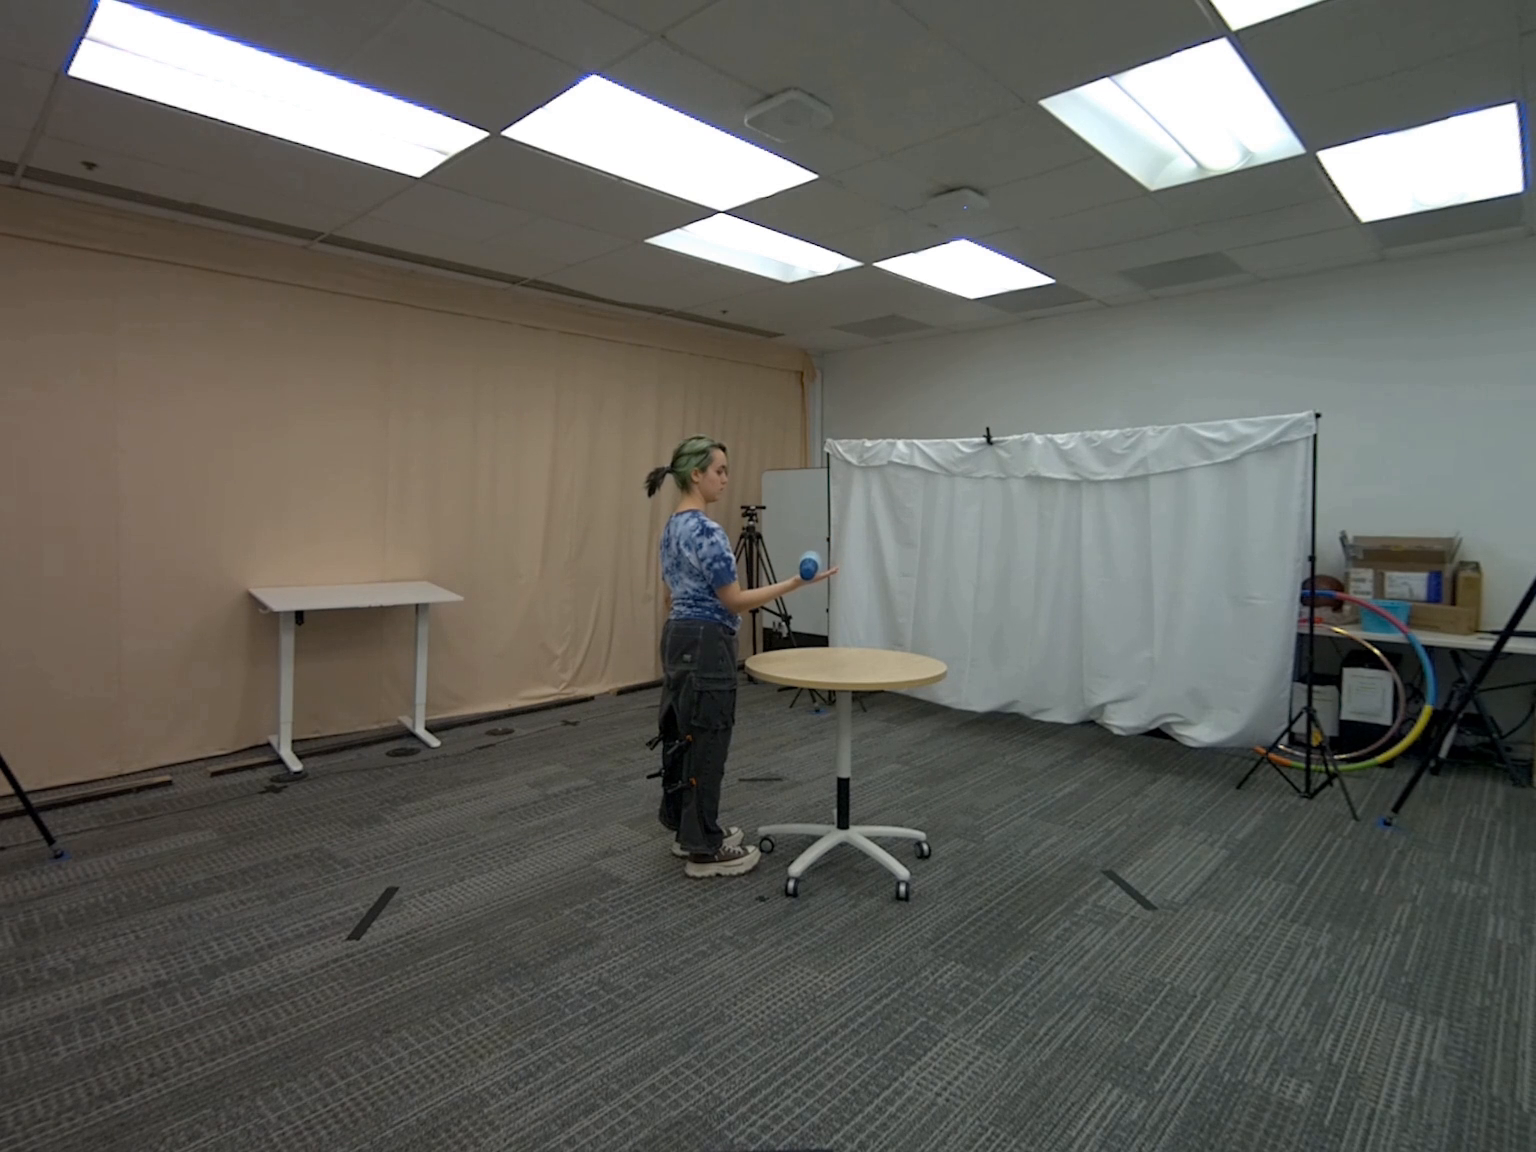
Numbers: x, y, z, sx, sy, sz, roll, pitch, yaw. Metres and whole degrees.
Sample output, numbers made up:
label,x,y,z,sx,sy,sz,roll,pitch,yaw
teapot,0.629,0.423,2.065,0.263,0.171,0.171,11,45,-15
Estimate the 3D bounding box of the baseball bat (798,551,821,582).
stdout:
label,x,y,z,sx,sy,sz,roll,pitch,yaw
baseball bat,0.151,-0.028,3.038,0.089,0.089,0.542,0,5,2
